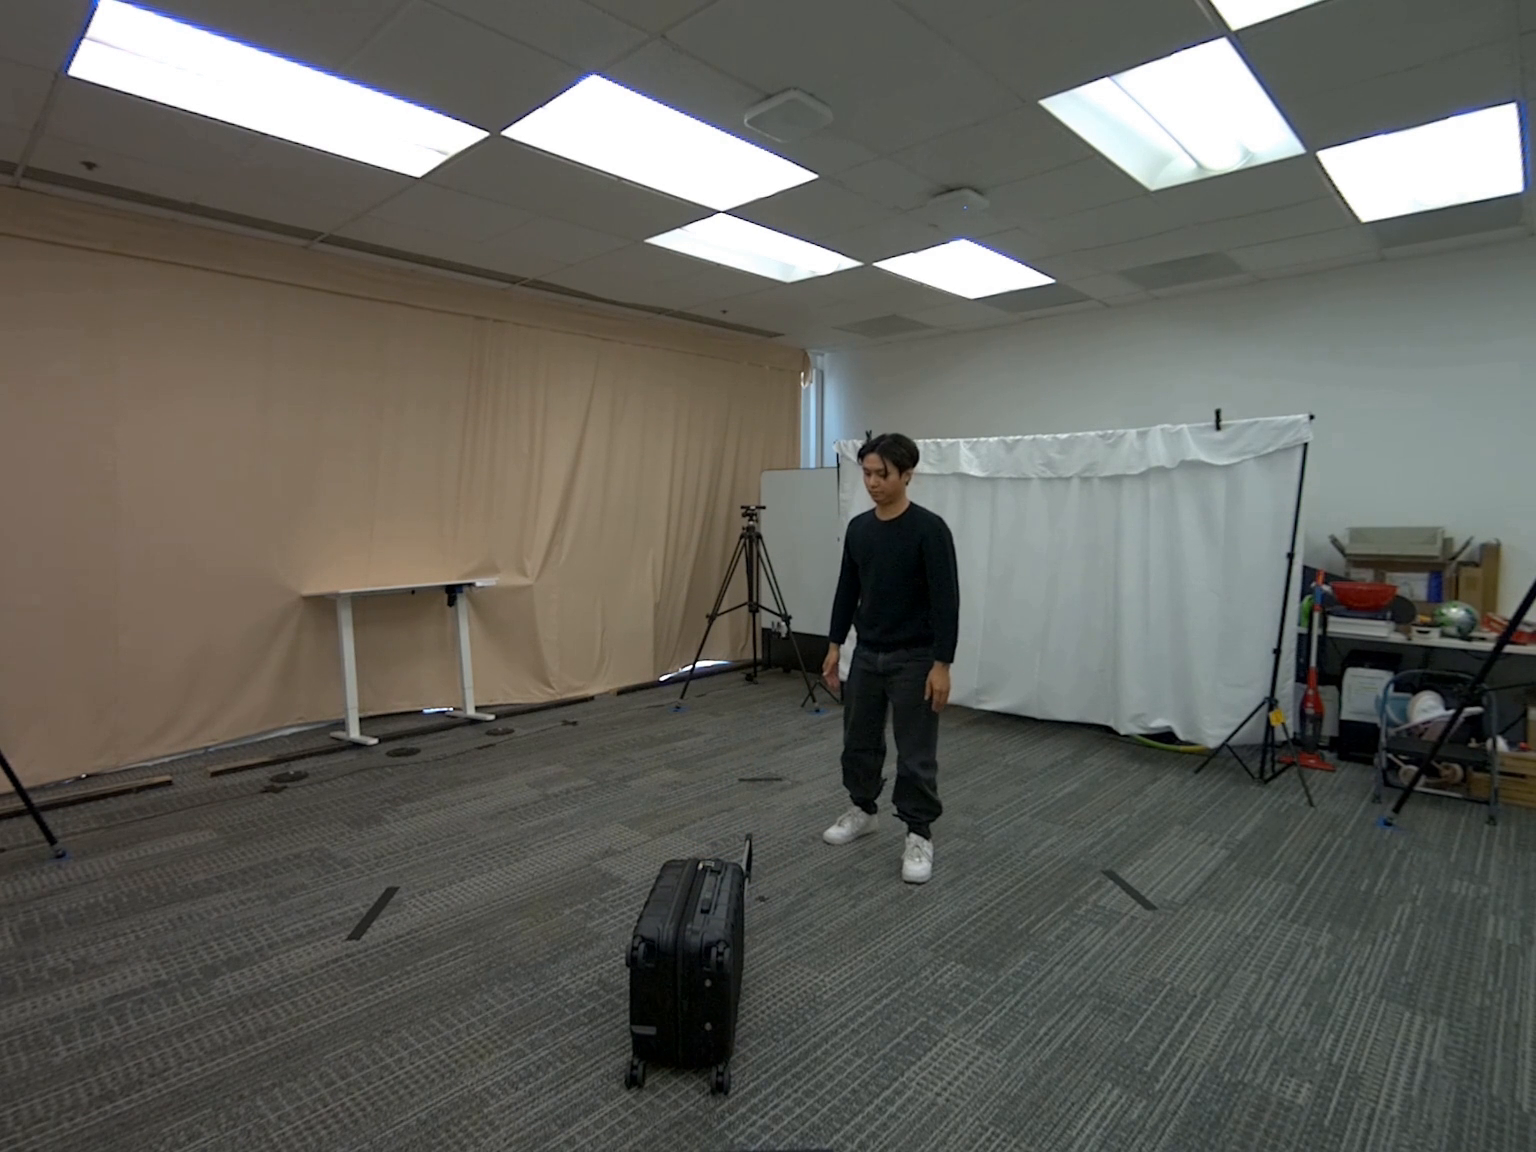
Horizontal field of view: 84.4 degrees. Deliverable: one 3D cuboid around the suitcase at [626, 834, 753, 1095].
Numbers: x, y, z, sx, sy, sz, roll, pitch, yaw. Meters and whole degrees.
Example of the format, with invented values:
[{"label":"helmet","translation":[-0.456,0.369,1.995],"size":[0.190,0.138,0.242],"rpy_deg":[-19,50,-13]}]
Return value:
[{"label":"suitcase","translation":[-0.195,0.999,2.462],"size":[0.258,0.383,0.976],"rpy_deg":[0,4,2]}]
